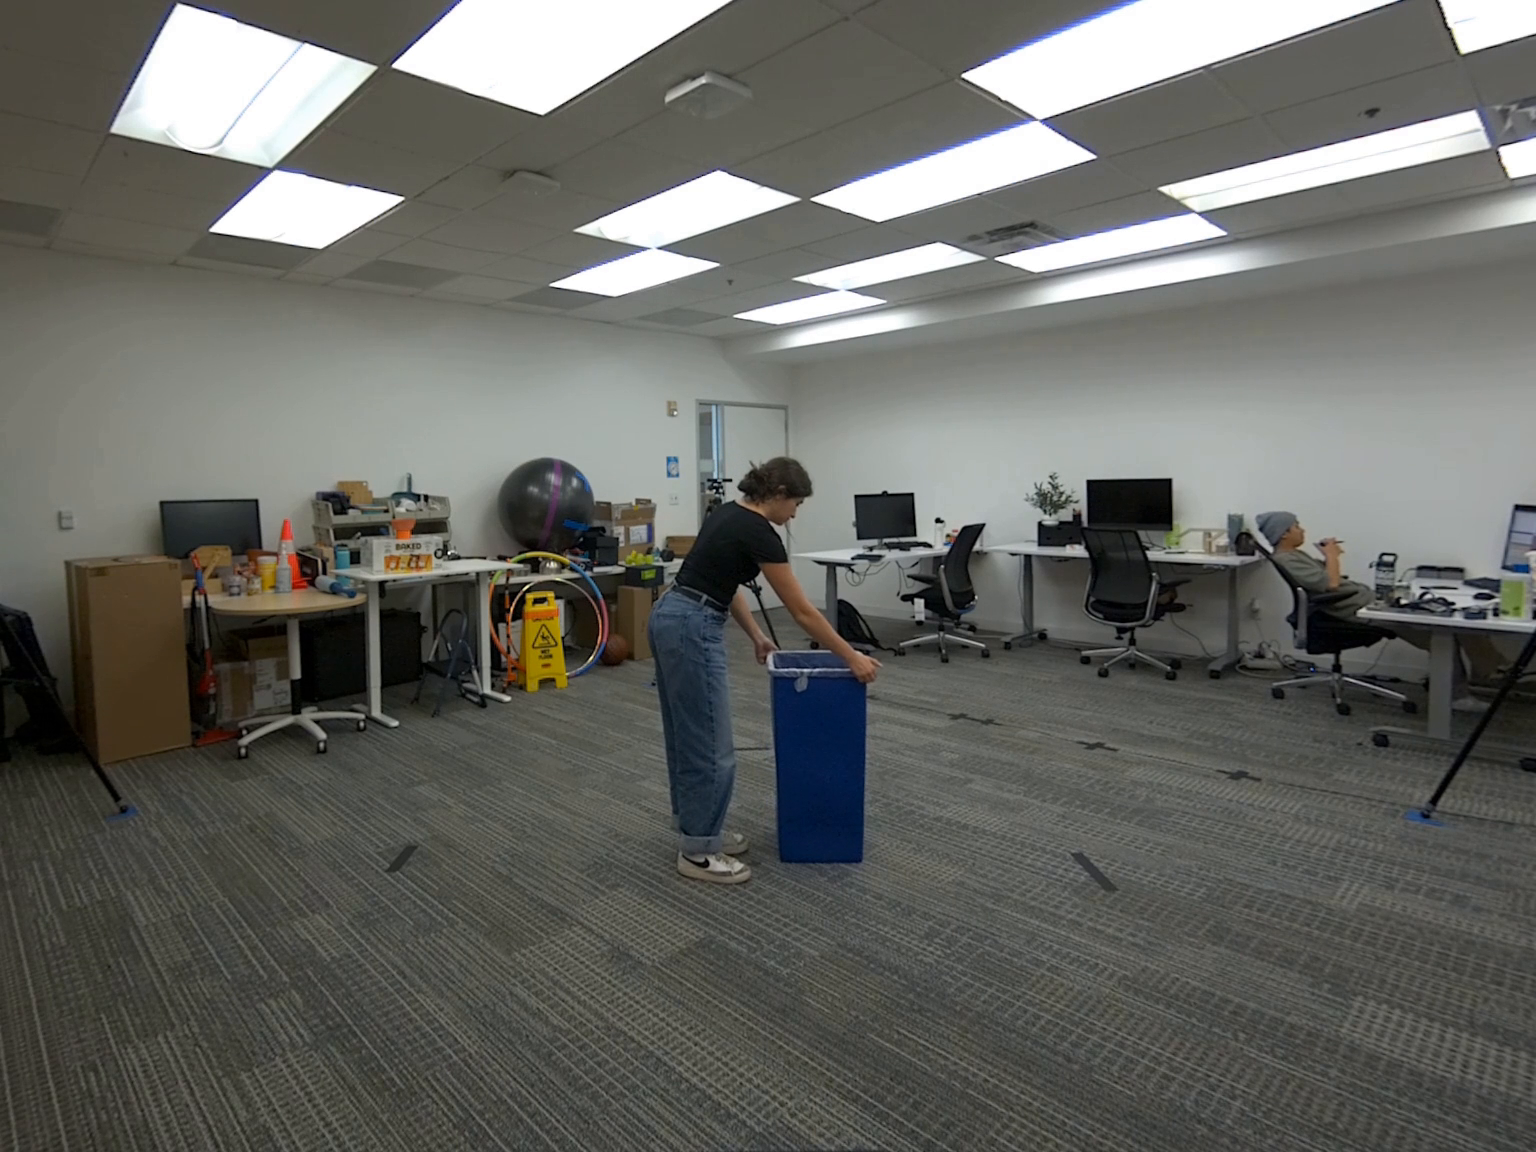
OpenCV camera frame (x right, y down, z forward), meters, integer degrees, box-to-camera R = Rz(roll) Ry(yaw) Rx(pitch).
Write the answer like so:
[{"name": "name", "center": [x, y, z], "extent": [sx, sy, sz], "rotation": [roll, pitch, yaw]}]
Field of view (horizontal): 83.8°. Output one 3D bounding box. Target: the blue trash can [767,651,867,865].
[{"name": "blue trash can", "center": [0.188, 0.671, 3.237], "extent": [0.379, 0.711, 0.375], "rotation": [0, 4, 1]}]
